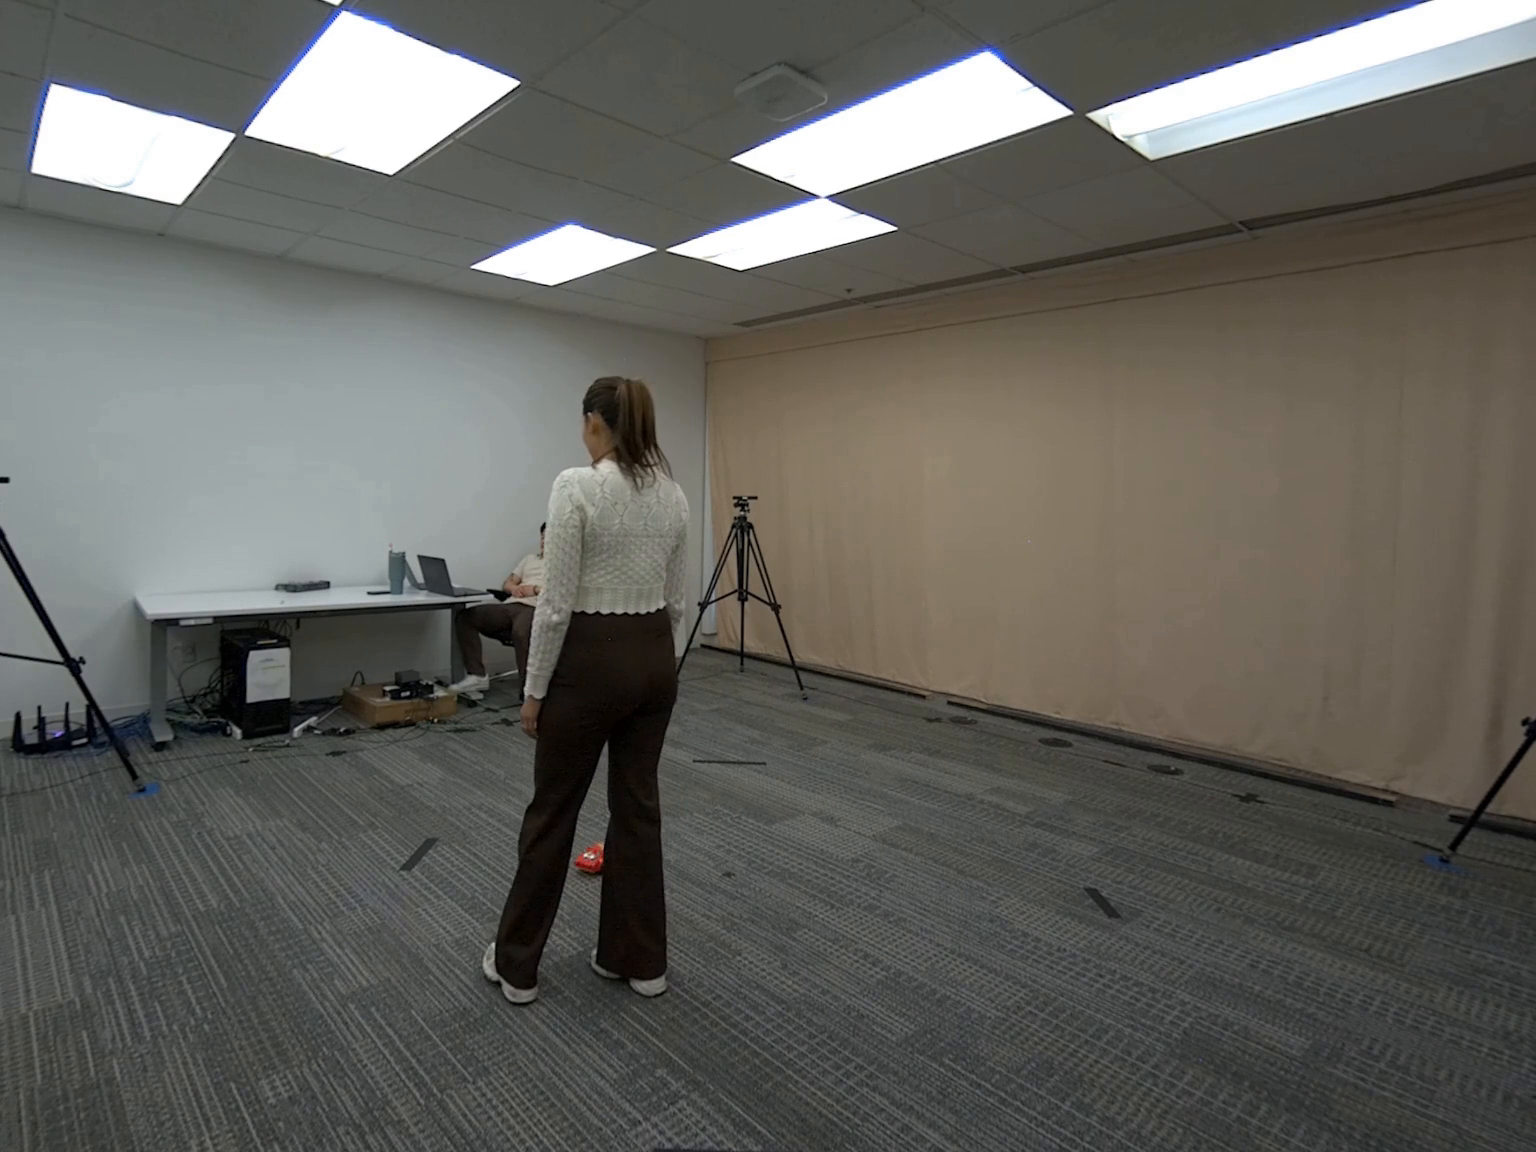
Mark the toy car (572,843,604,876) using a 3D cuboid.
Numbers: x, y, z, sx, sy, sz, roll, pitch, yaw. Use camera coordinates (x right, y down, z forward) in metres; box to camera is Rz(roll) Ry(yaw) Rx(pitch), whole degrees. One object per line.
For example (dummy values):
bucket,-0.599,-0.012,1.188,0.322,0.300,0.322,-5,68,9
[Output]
toy car,-0.634,1.058,3.154,0.133,0.083,0.248,4,-6,25
